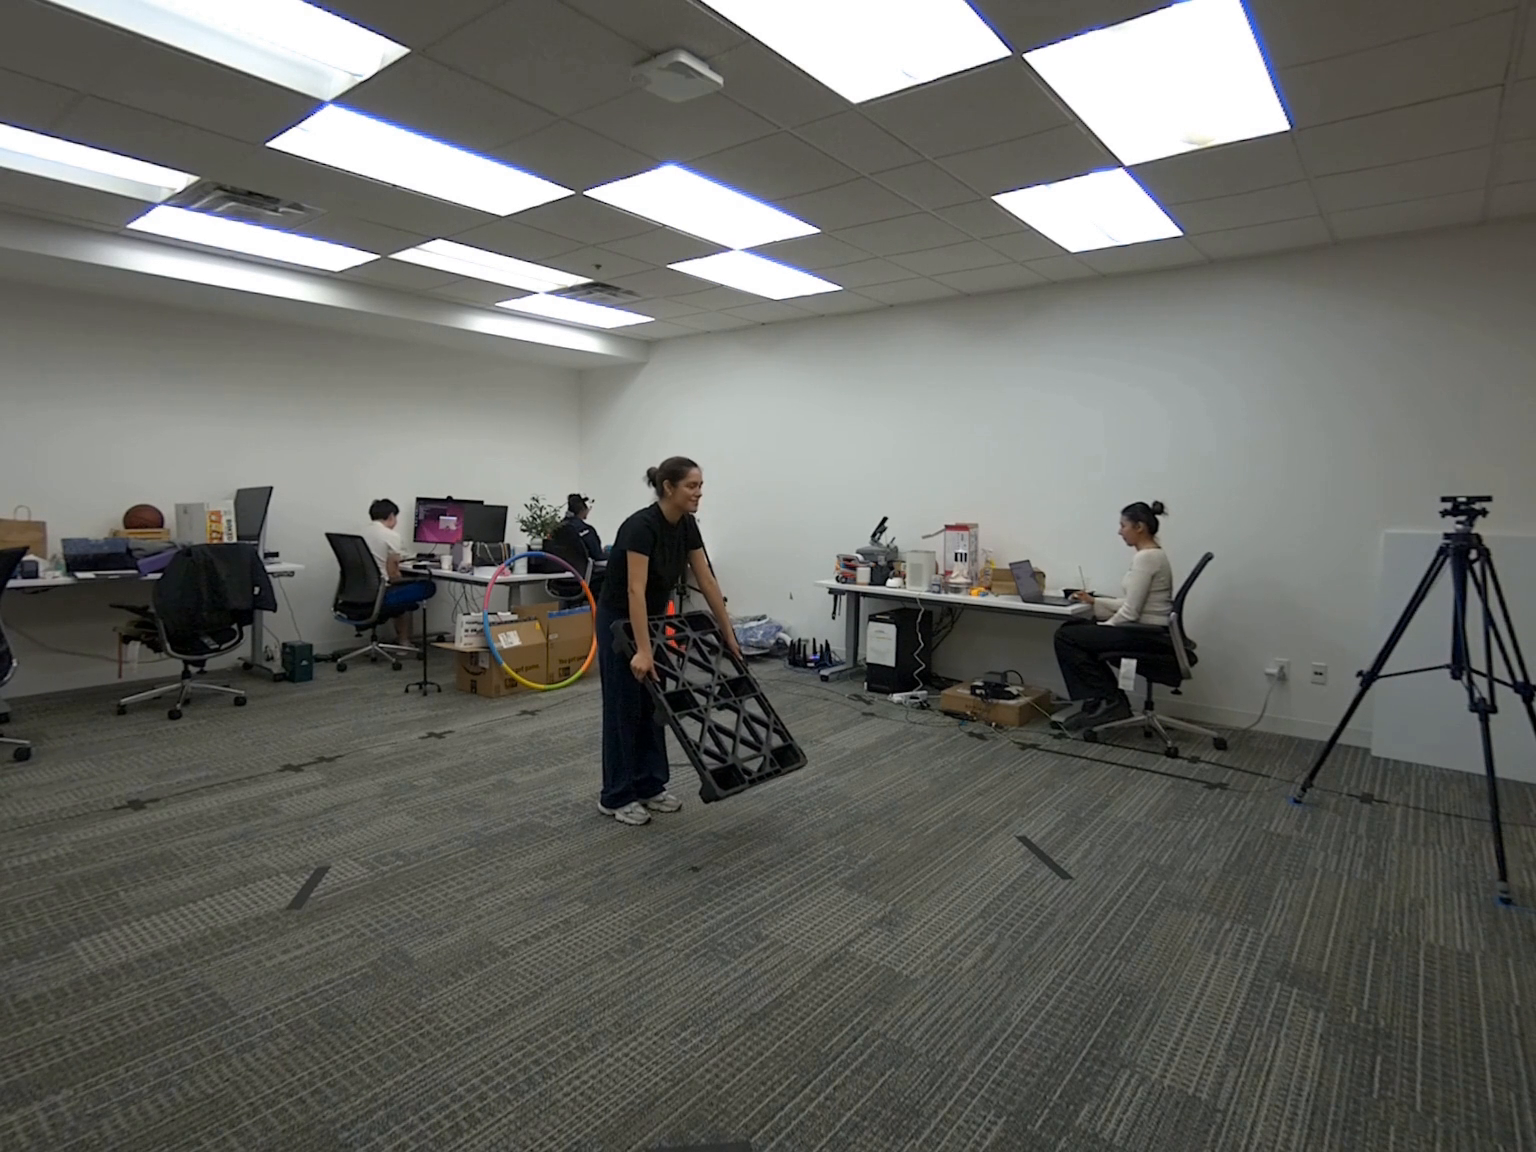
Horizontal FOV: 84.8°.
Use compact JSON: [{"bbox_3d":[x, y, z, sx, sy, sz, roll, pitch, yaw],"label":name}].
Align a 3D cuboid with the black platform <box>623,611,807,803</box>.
[{"bbox_3d":[-0.237,0.502,3.454,0.586,0.831,0.143,-1,-41,-53],"label":"black platform"}]
